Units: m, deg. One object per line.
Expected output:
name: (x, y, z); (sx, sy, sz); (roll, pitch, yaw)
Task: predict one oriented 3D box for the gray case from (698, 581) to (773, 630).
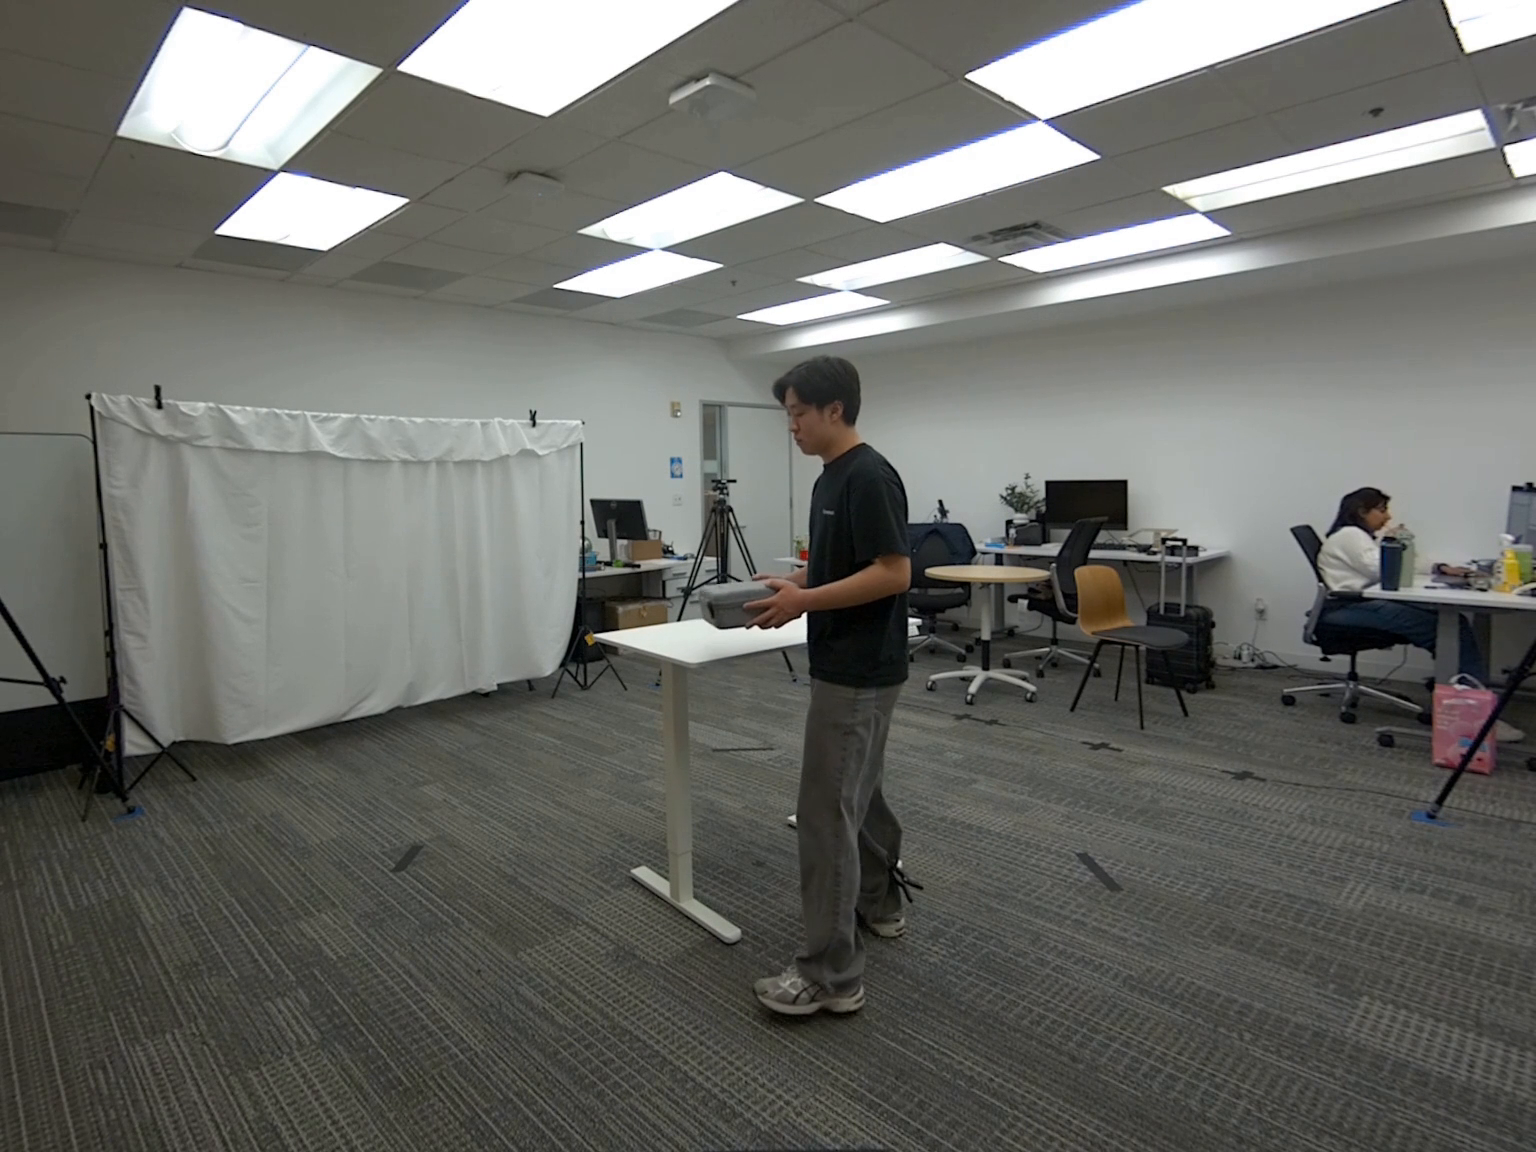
gray case: (-0.042, 0.072, 2.403); (0.285, 0.102, 0.266); (-6, 5, -10)
